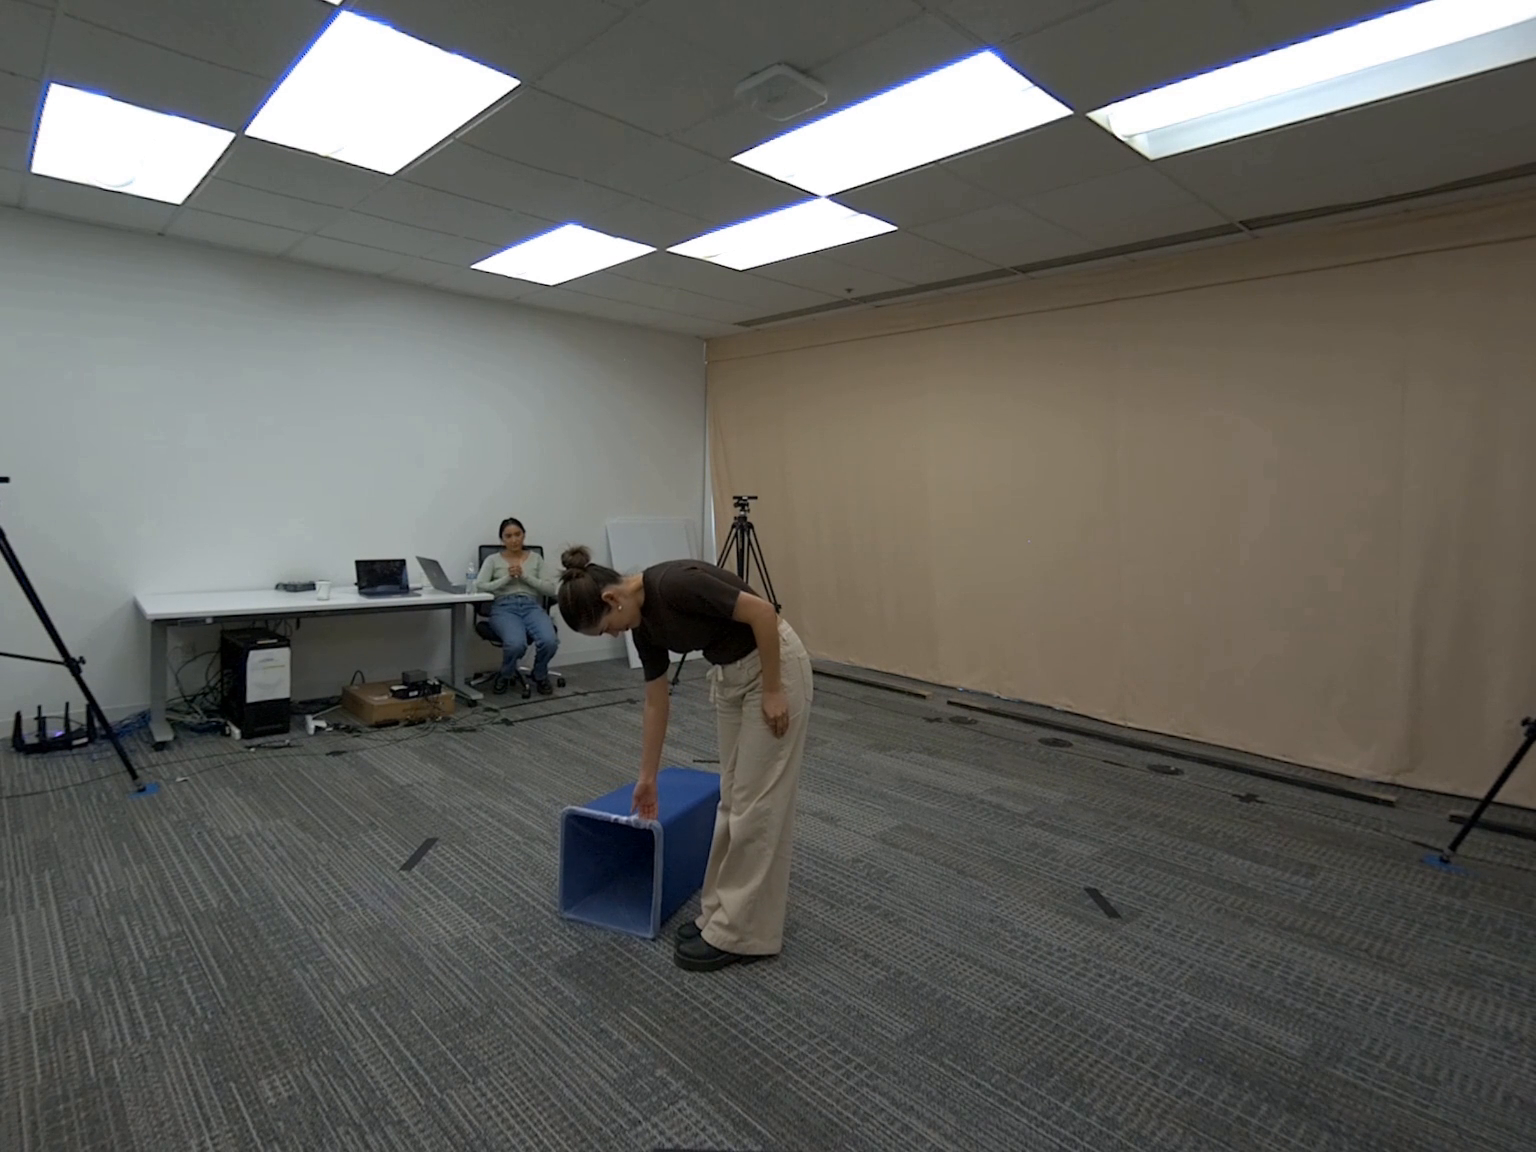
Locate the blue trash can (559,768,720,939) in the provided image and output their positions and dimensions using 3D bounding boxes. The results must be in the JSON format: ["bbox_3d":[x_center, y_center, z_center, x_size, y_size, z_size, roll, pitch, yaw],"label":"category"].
[{"bbox_3d":[-0.392,0.940,3.013,0.385,0.374,0.701,3,2,22],"label":"blue trash can"}]
